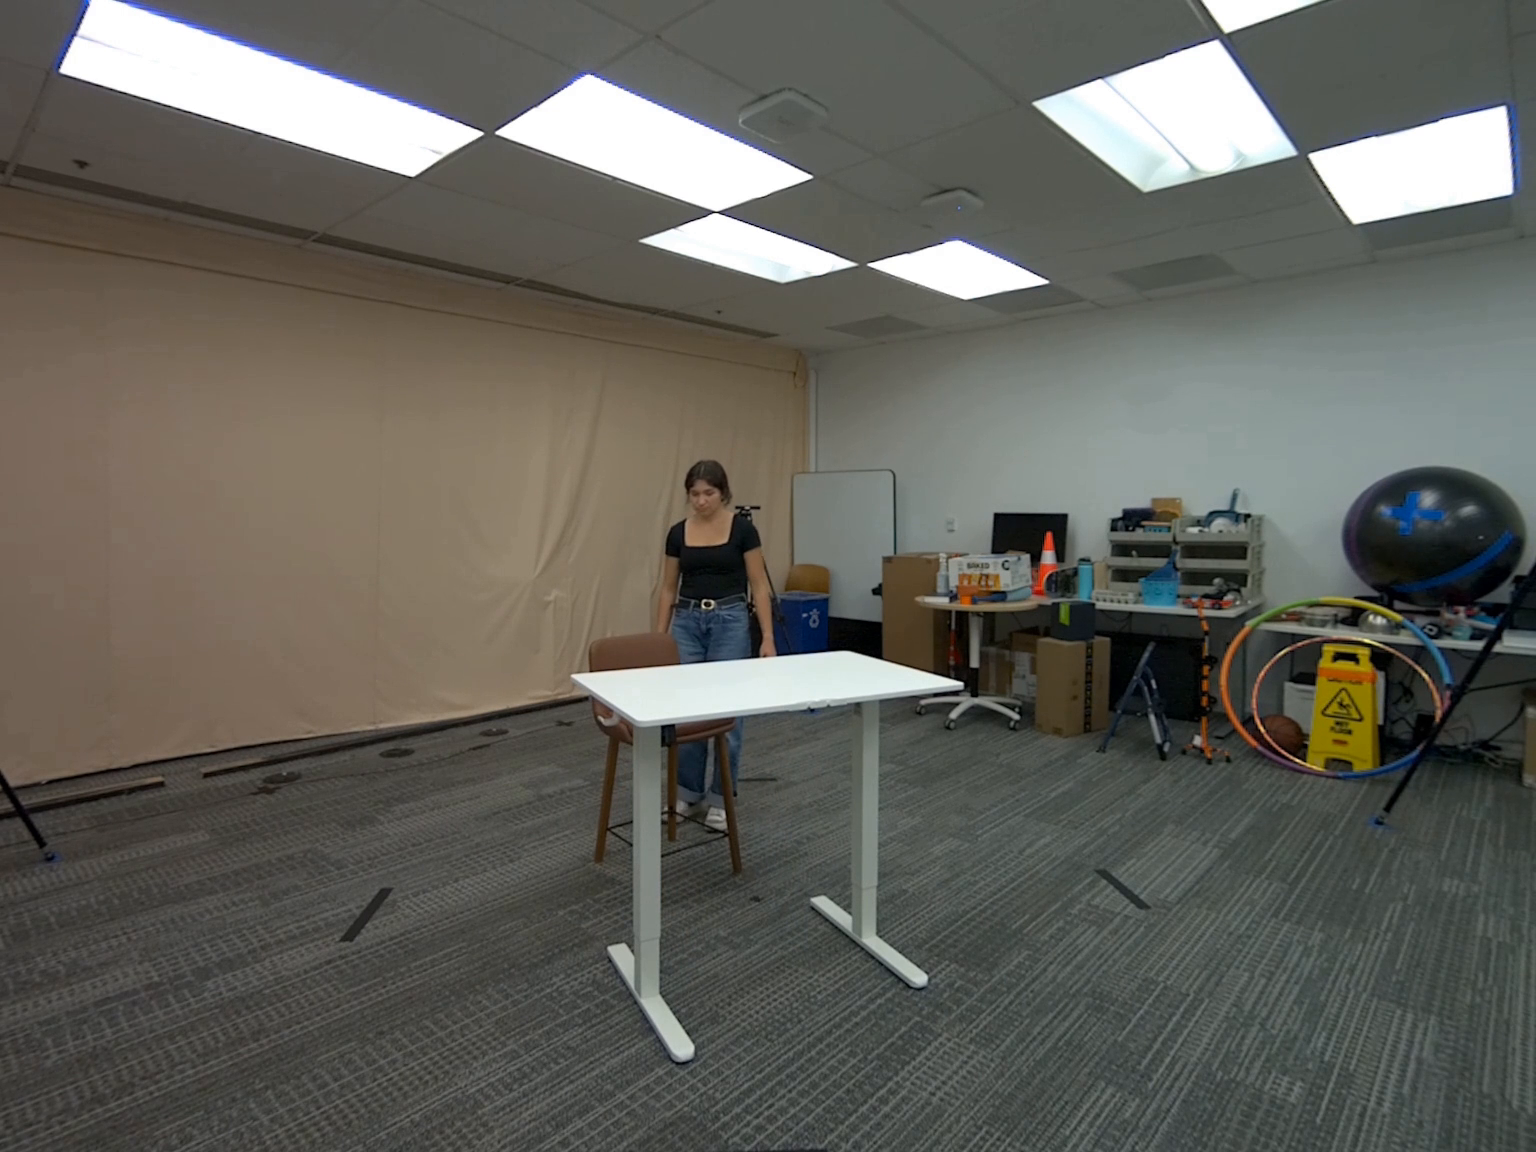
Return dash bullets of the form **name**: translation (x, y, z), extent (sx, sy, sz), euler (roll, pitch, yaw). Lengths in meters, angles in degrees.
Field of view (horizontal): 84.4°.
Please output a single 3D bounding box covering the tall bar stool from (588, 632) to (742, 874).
- **tall bar stool**: translation (-0.407, 0.687, 3.232), extent (0.443, 0.889, 0.482), euler (-3, 1, -38)
